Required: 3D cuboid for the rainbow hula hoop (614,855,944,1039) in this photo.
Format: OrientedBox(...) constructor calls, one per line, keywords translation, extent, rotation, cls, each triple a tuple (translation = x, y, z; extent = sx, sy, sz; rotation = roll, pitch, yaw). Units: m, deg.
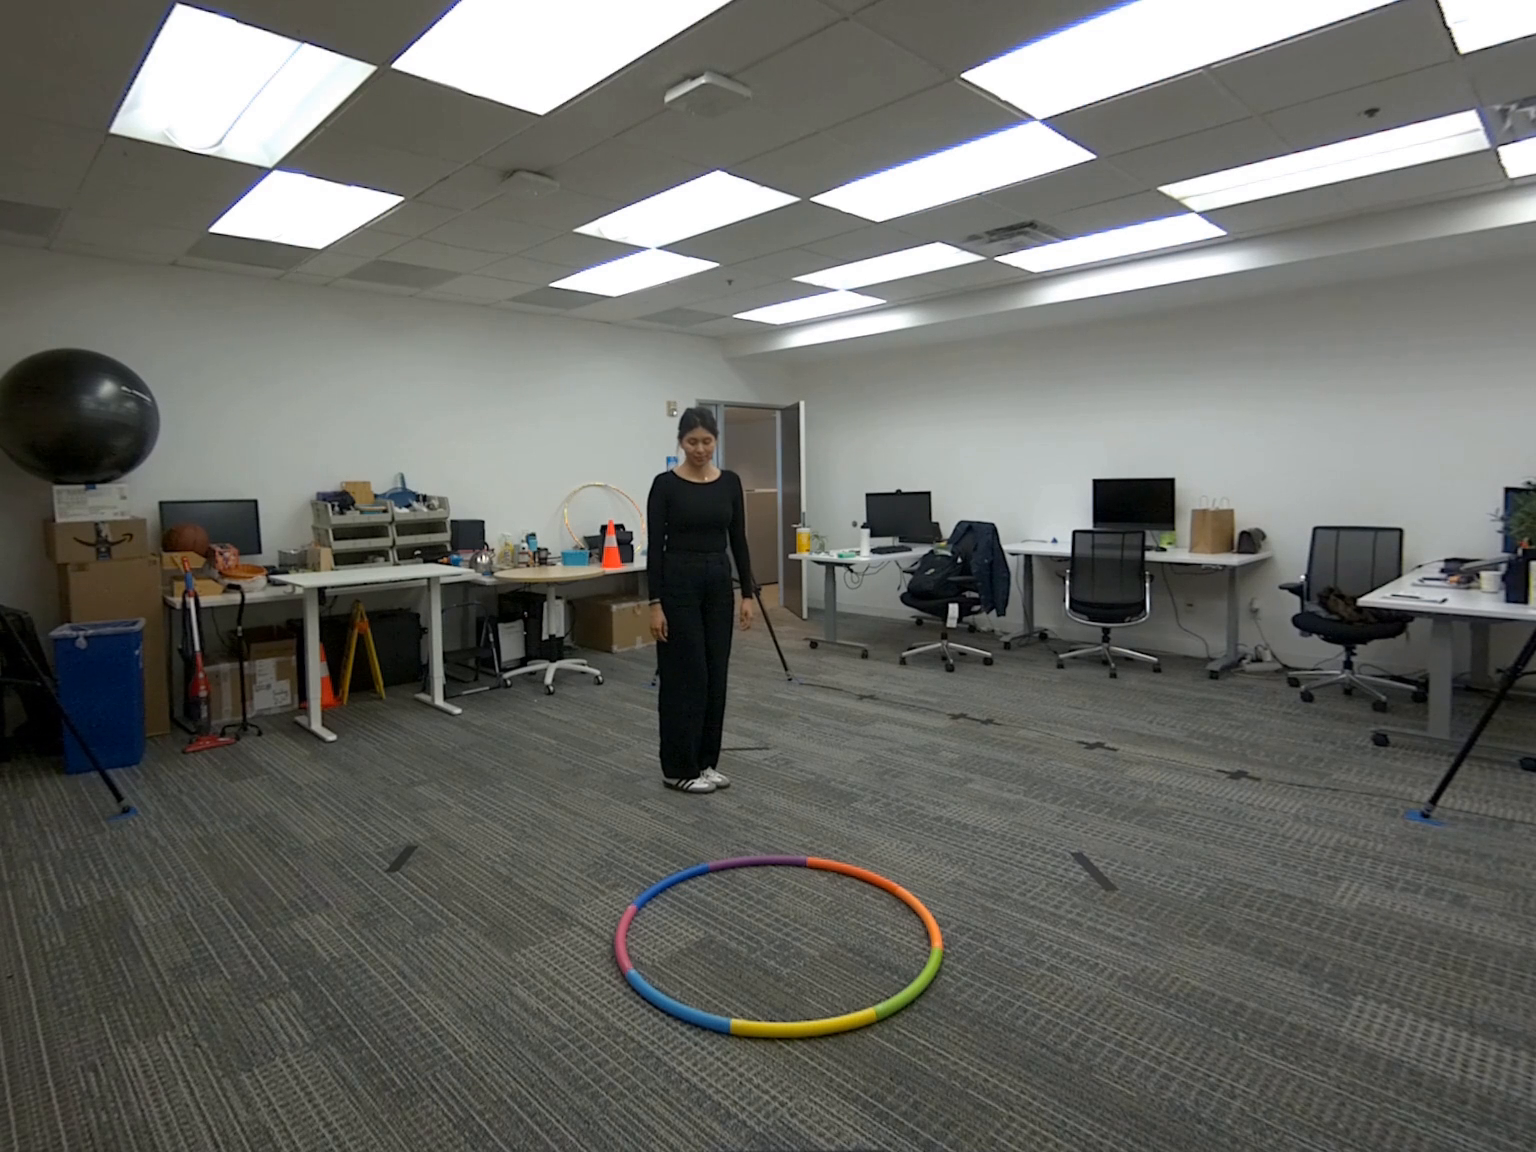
OrientedBox(translation=(0.026, 1.070, 2.618), extent=(0.978, 0.035, 0.984), rotation=(-2, 6, -2), cls="rainbow hula hoop")
